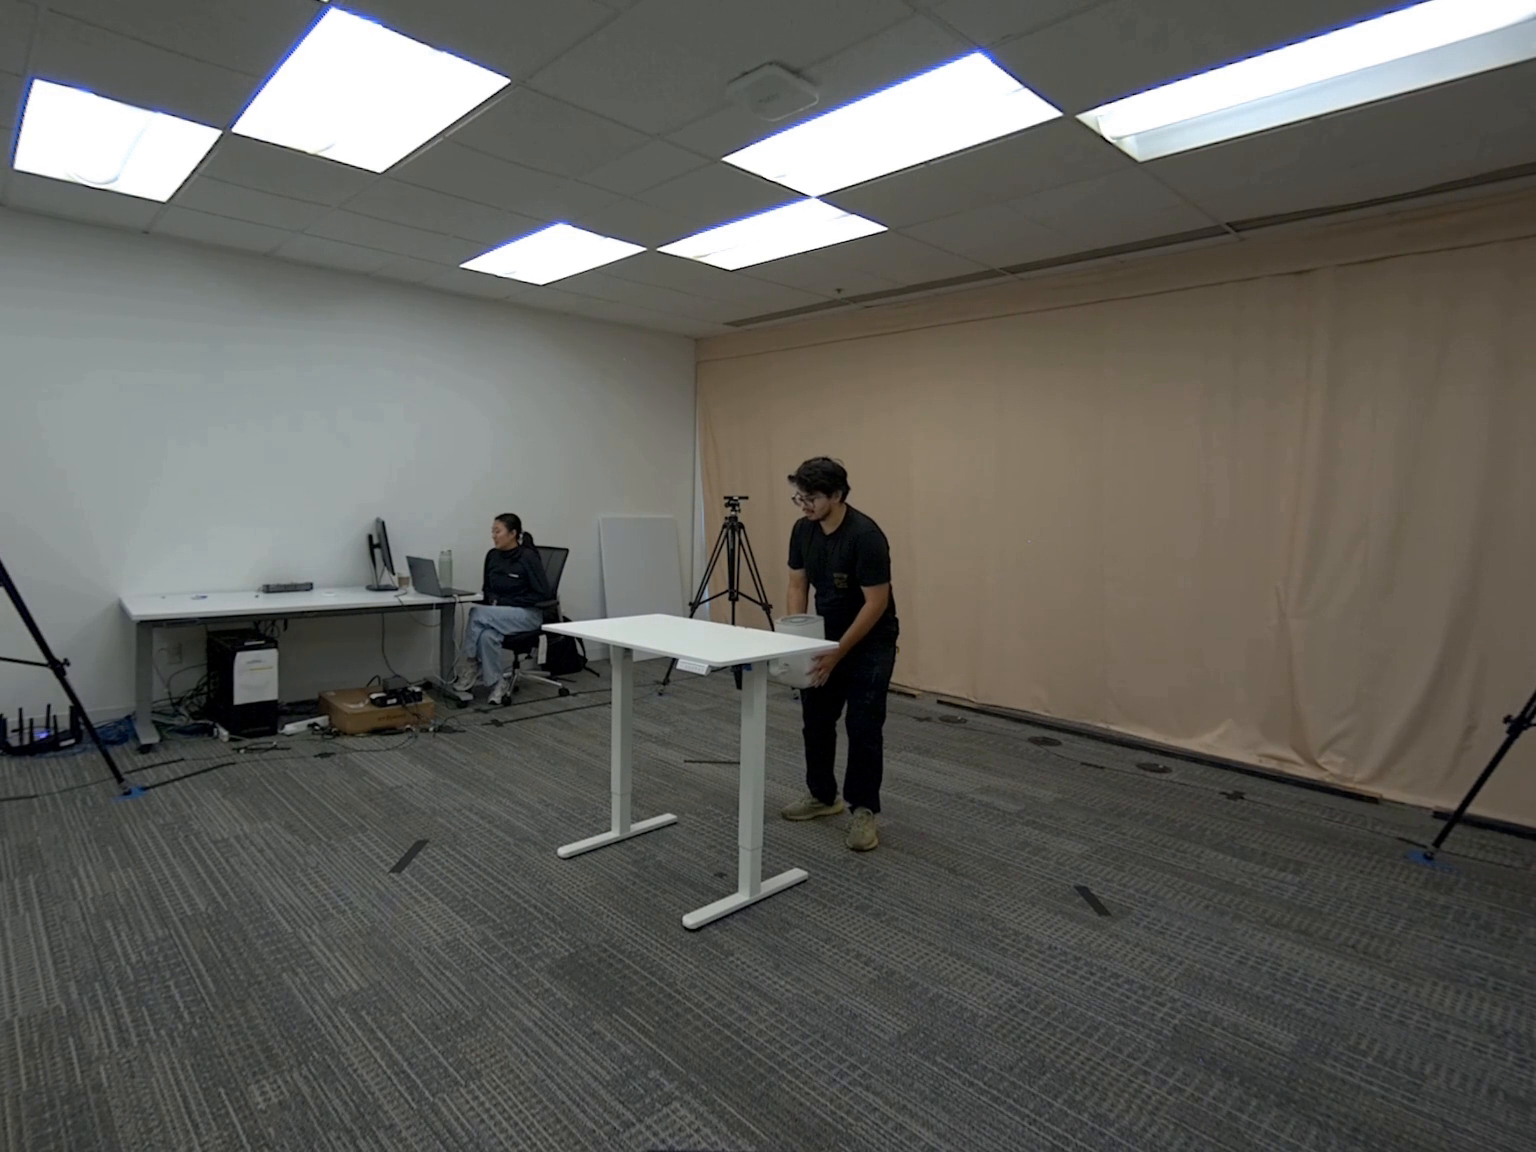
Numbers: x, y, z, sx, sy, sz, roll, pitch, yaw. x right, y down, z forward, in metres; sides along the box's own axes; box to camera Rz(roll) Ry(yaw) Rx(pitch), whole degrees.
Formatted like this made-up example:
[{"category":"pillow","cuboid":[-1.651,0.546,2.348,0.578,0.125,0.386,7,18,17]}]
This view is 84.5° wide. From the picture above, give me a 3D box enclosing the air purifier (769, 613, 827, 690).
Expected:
[{"category":"air purifier","cuboid":[0.123,0.306,3.406,0.168,0.263,0.175,-12,13,-38]}]
